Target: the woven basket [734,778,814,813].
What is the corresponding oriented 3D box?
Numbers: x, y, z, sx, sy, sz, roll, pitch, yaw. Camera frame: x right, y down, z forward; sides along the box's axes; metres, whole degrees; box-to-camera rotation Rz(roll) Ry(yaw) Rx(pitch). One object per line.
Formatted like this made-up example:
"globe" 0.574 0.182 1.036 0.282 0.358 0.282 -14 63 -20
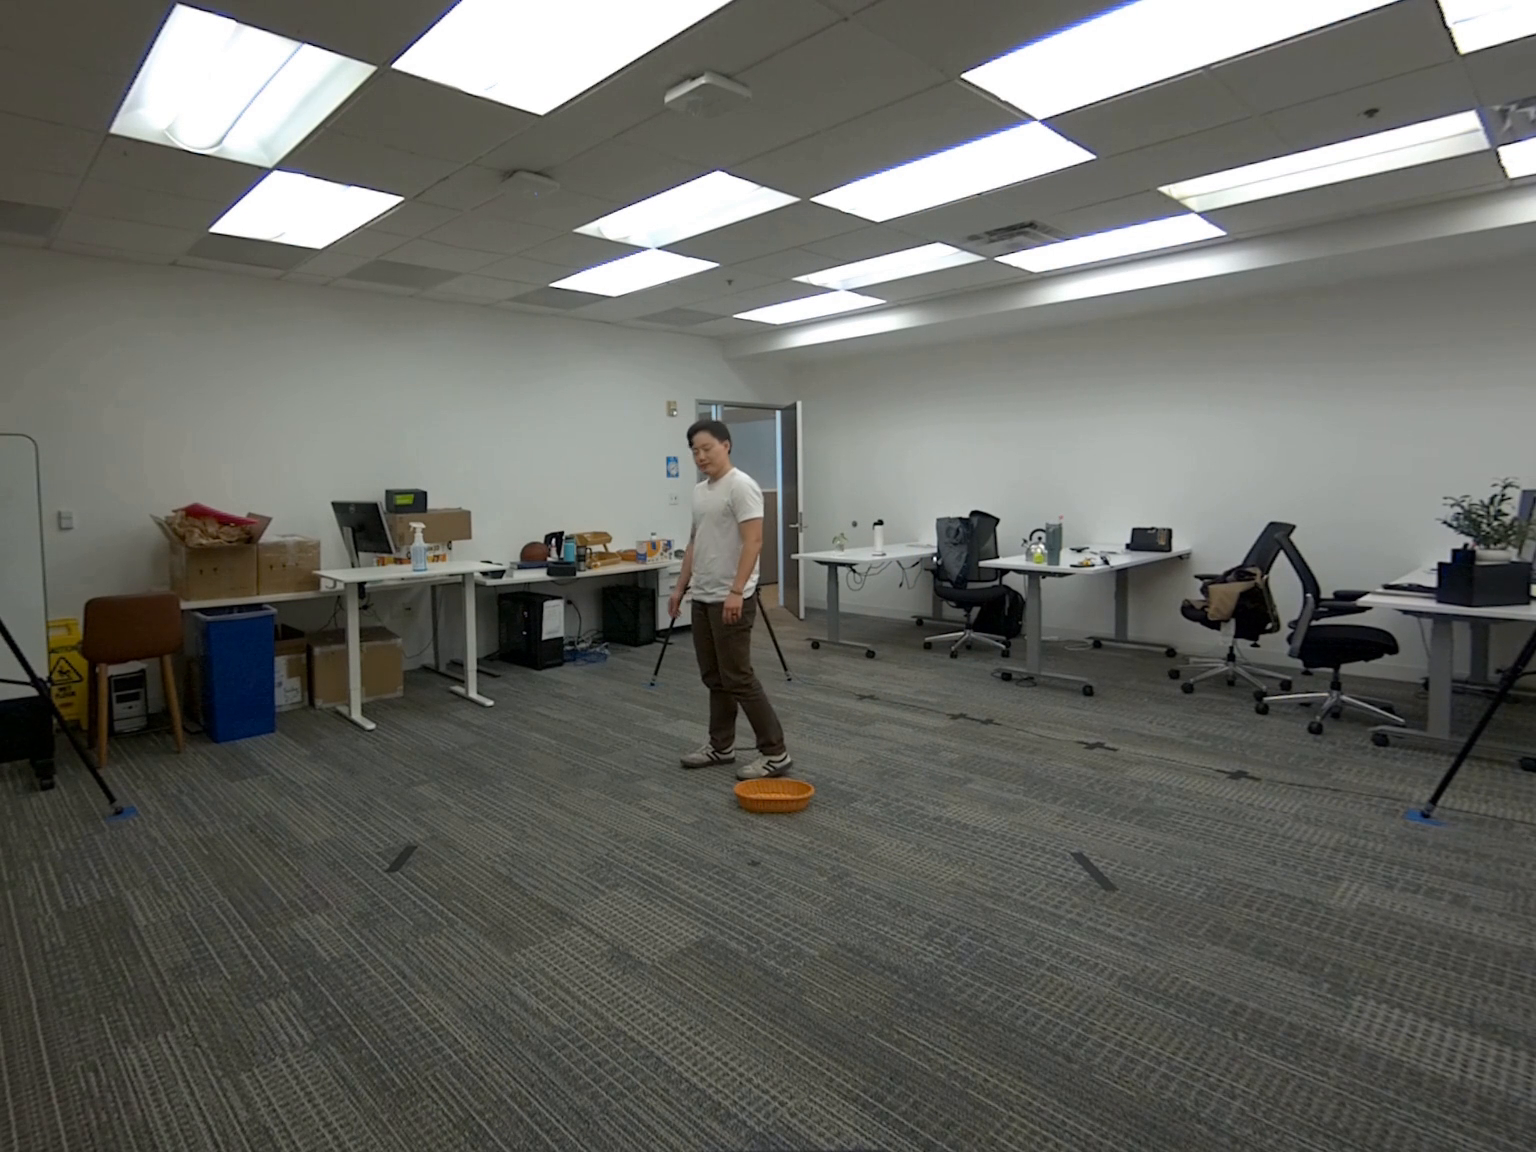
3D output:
"woven basket" 0.020 0.937 3.668 0.352 0.073 0.252 0 6 4
